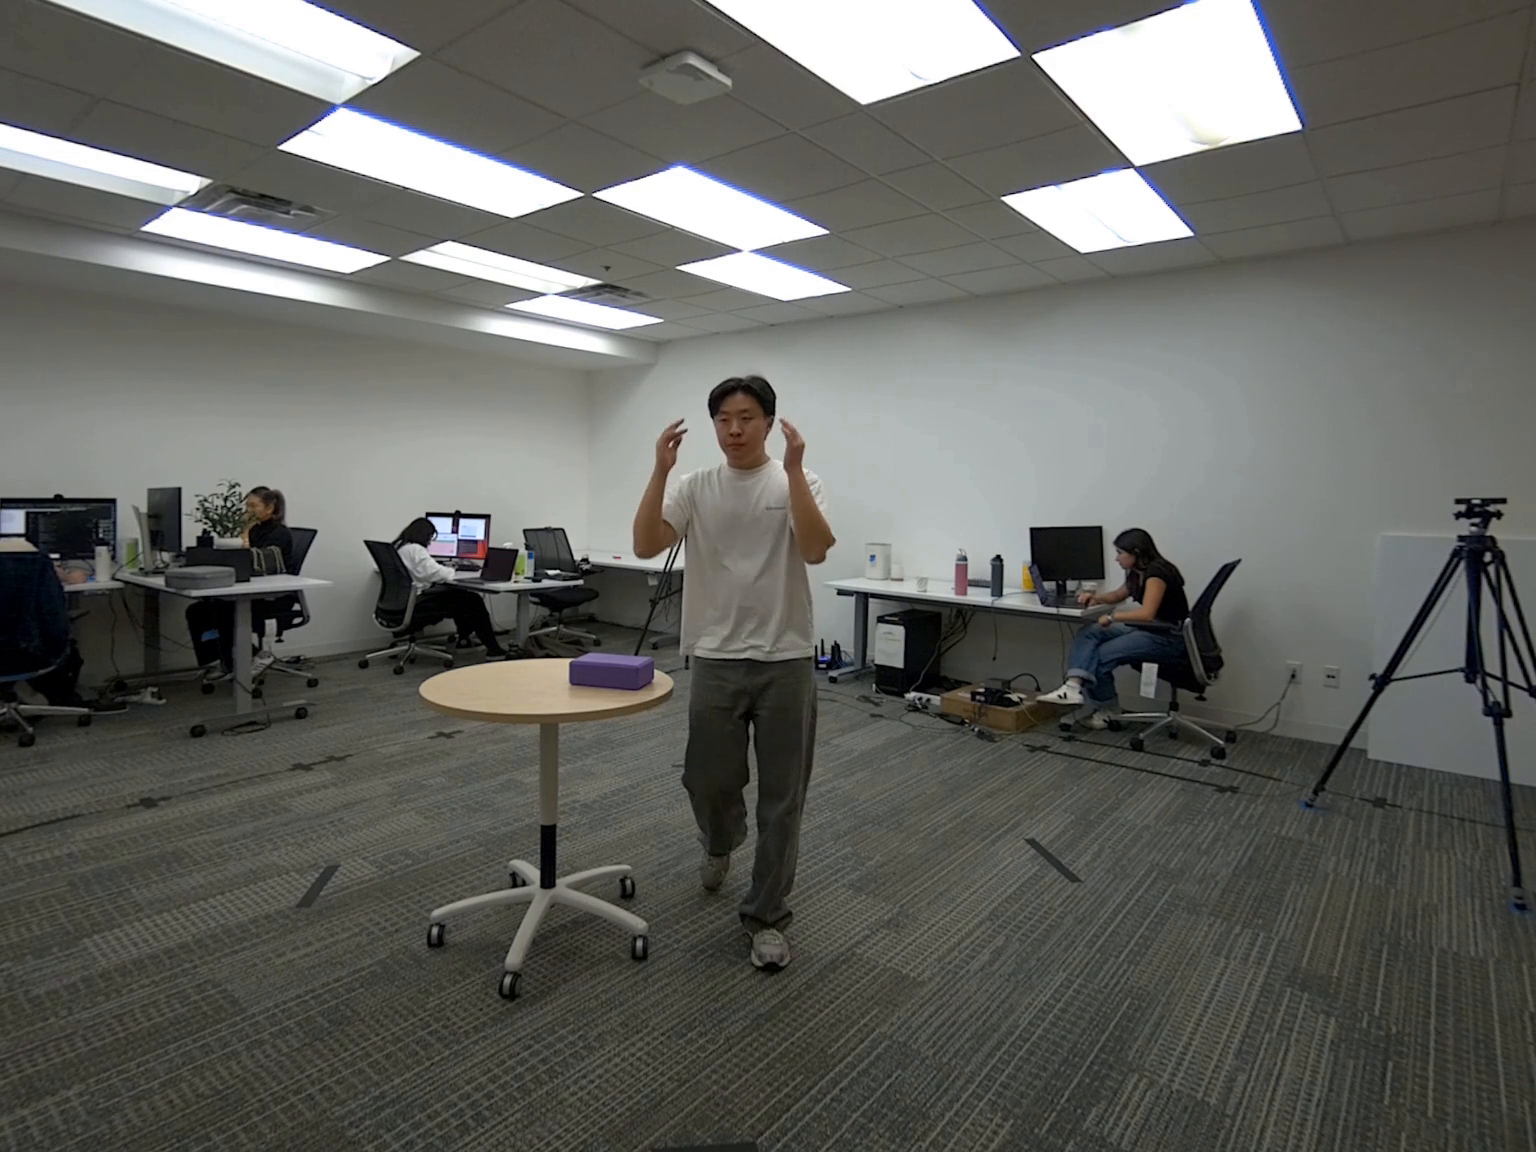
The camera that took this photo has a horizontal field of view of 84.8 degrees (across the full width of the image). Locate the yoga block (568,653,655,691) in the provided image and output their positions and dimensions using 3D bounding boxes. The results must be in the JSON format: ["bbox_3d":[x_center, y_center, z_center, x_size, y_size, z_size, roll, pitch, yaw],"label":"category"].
[{"bbox_3d":[-0.490,0.288,2.638,0.233,0.076,0.147,2,5,14],"label":"yoga block"}]
